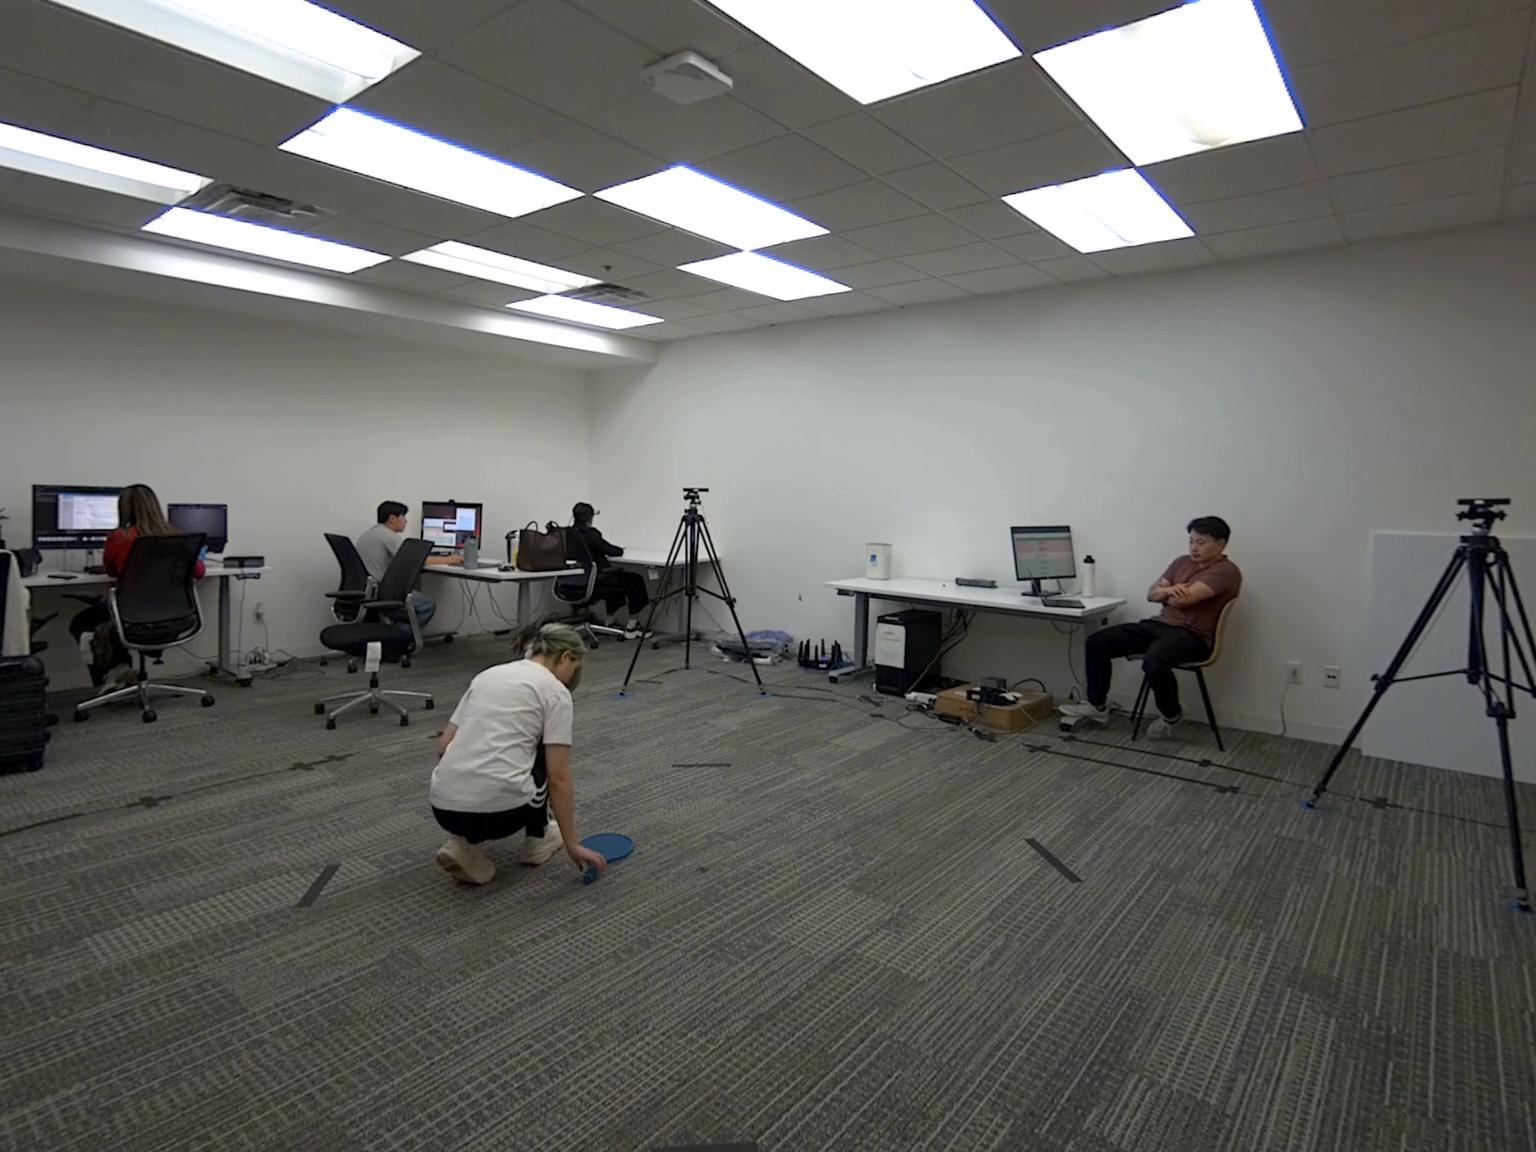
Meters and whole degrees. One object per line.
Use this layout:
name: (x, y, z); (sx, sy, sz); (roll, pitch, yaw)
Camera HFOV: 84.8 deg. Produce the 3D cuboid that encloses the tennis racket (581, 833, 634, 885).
tennis racket: (-0.638, 1.047, 3.181); (0.214, 0.031, 0.433); (2, 4, 1)
